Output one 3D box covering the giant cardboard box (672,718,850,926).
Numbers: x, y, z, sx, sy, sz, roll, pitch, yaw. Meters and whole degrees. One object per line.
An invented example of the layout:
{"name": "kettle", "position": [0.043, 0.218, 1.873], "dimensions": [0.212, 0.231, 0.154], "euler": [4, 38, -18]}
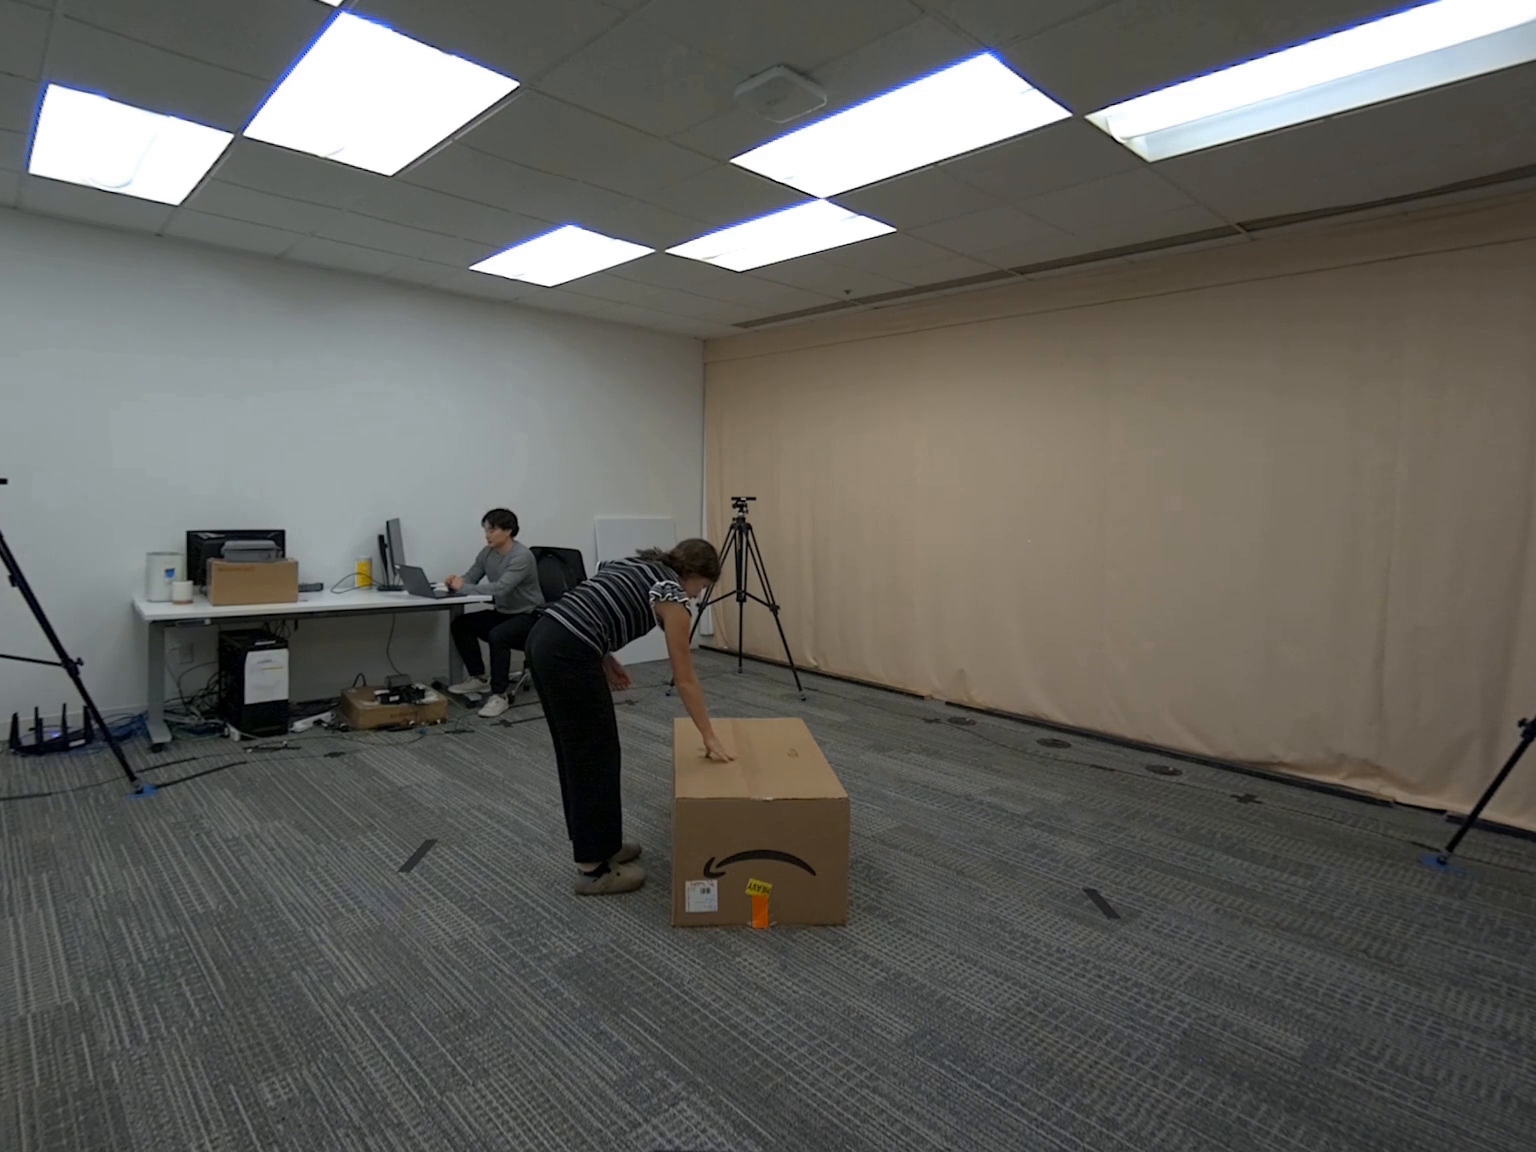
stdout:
{"name": "giant cardboard box", "position": [-0.083, 0.887, 3.234], "dimensions": [0.575, 0.425, 1.033], "euler": [1, 5, -6]}
